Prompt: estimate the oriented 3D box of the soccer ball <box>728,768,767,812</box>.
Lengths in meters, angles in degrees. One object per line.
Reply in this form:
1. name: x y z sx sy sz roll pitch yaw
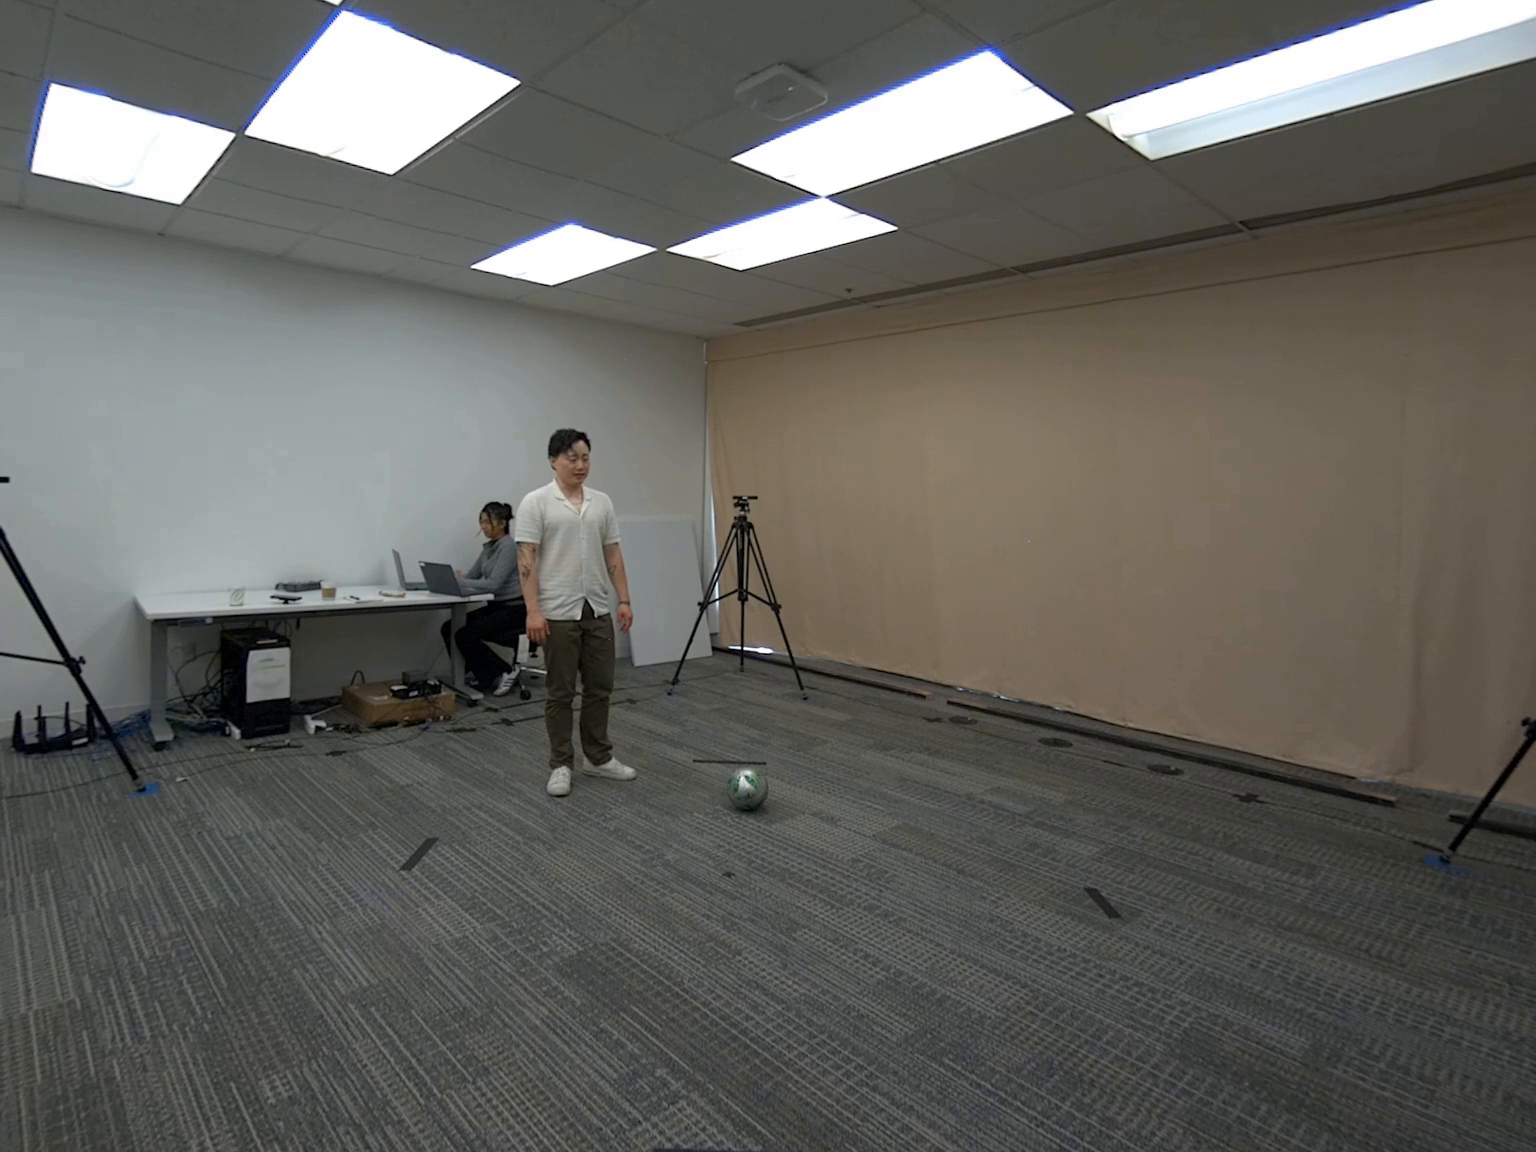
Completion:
1. soccer ball: -0.107 0.951 3.776 0.187 0.187 0.188 1 4 -1
